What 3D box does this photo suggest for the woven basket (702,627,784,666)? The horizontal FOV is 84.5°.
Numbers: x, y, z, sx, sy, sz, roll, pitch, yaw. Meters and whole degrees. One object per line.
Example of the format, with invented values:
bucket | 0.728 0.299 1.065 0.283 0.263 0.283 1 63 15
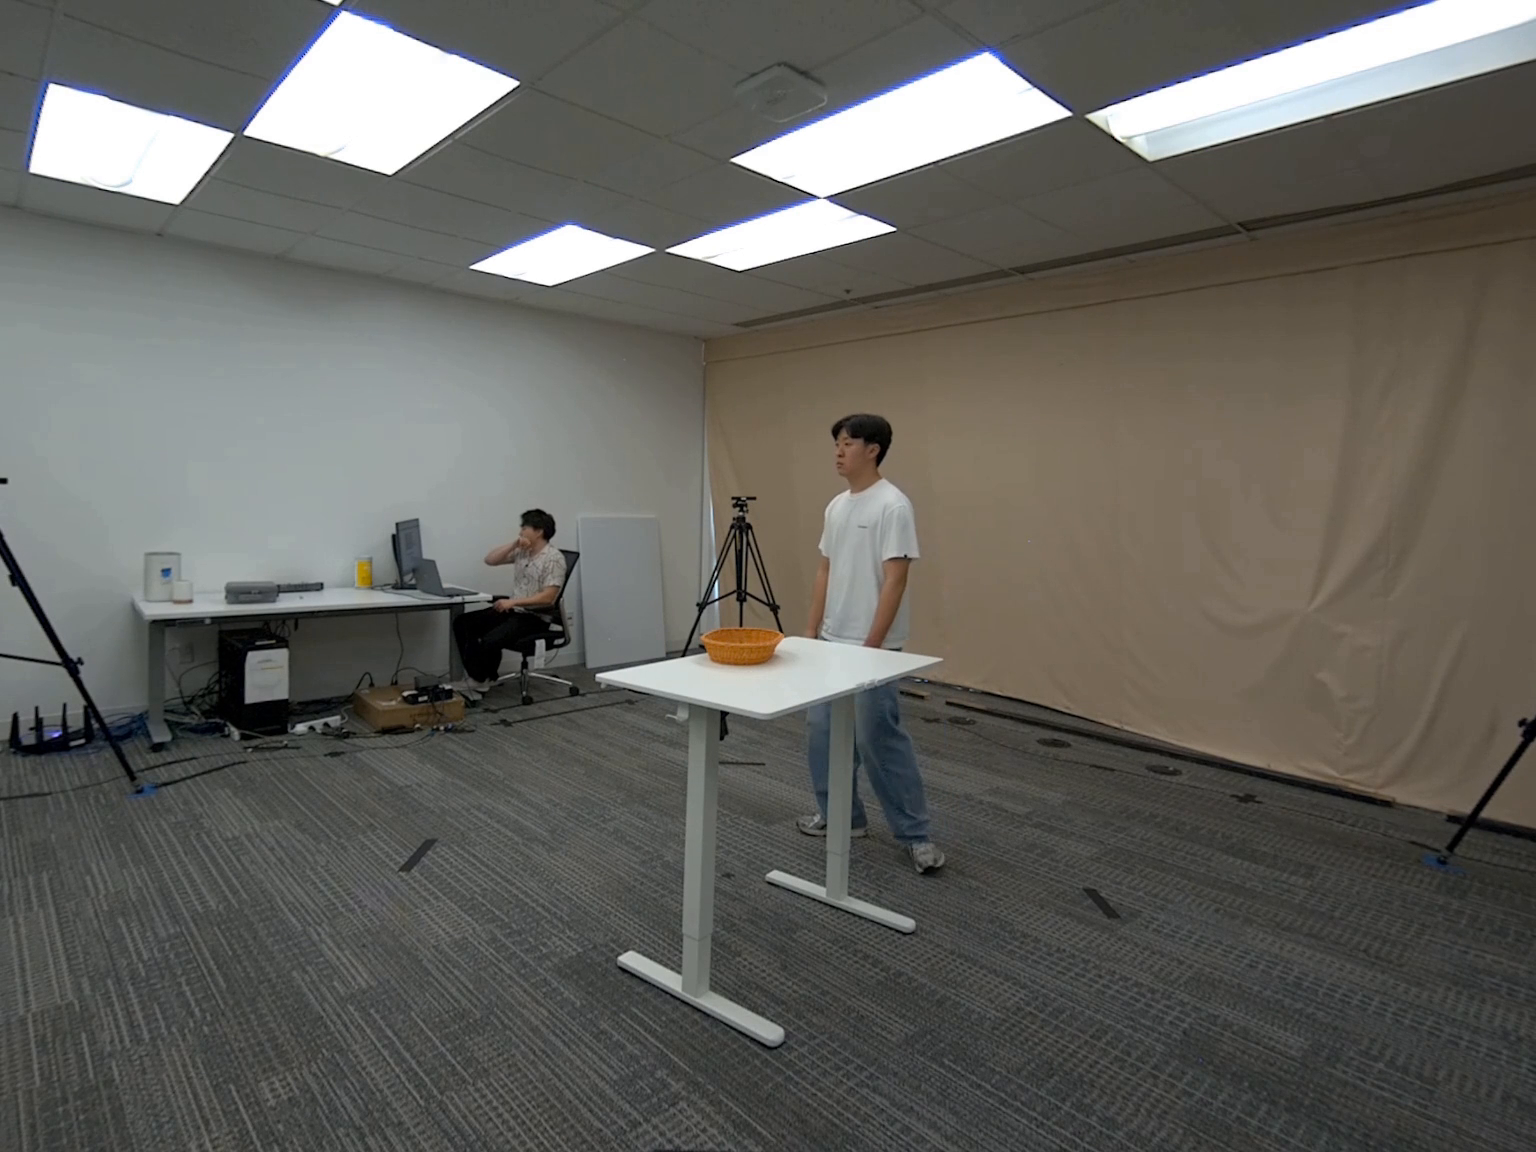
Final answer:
woven basket | -0.089 0.235 2.683 0.256 0.073 0.346 3 5 17
